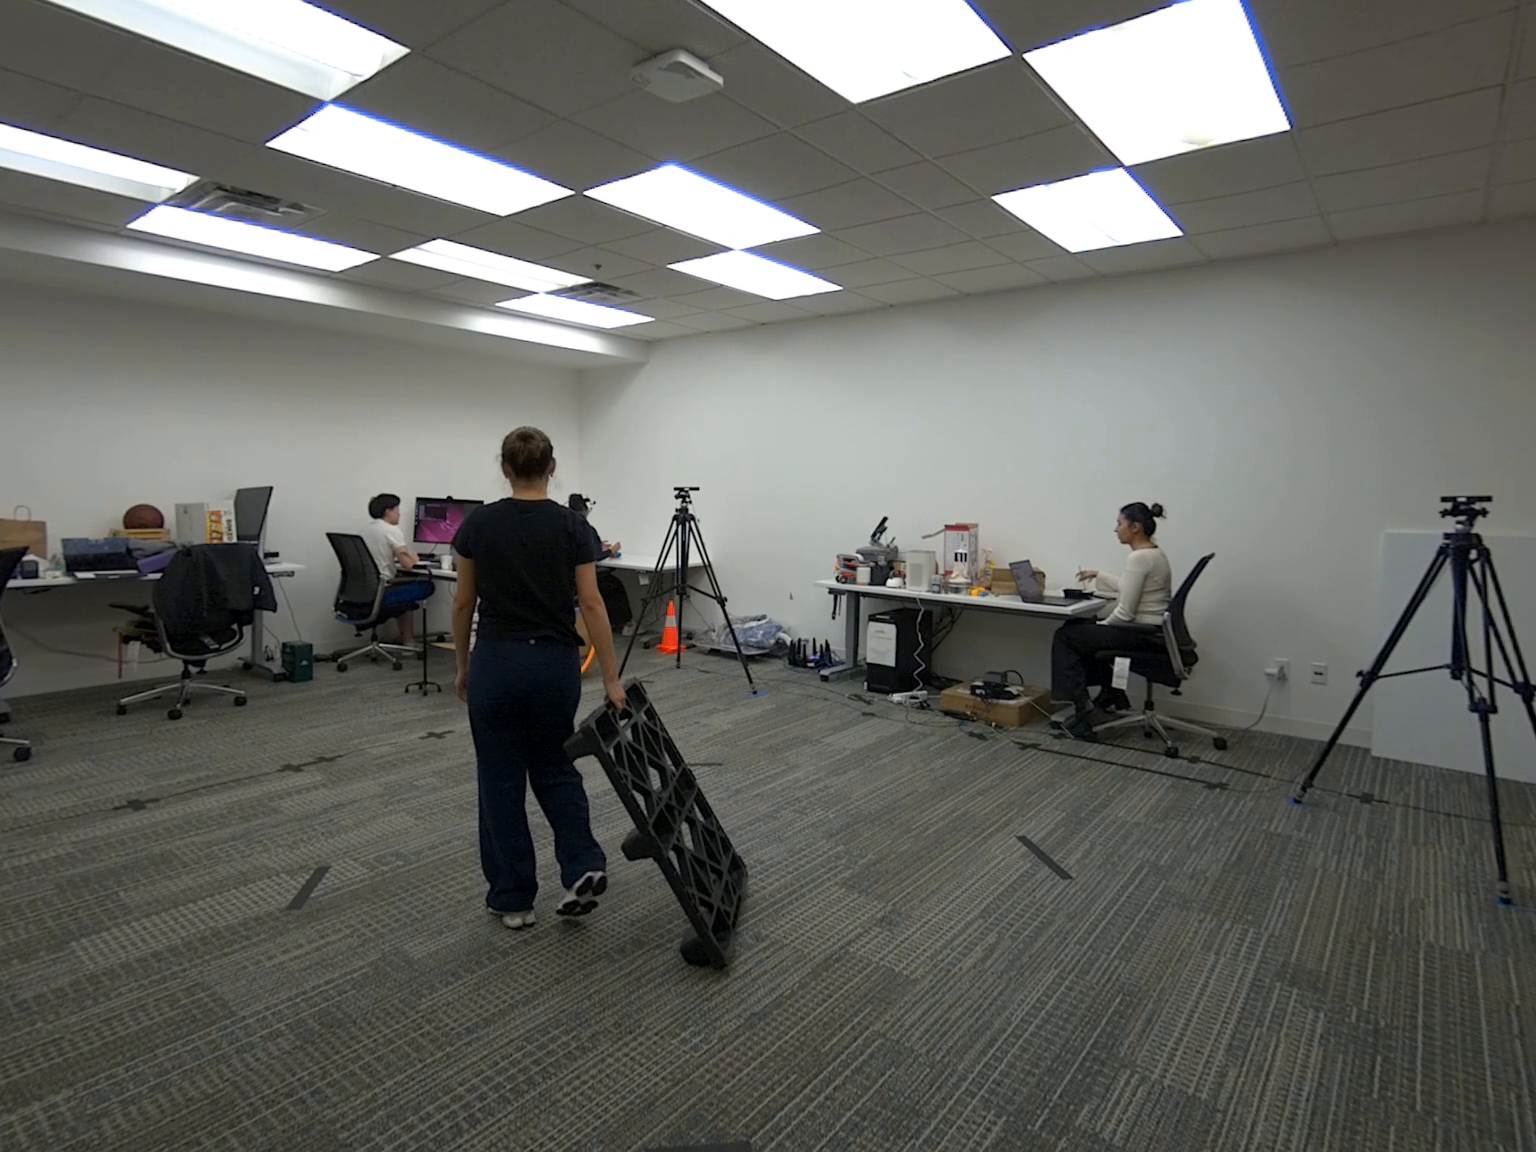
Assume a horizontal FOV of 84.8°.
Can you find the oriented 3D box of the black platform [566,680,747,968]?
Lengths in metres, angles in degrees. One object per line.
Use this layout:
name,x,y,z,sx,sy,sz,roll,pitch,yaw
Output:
black platform,-0.330,0.752,2.720,0.144,0.807,0.602,-30,0,6
